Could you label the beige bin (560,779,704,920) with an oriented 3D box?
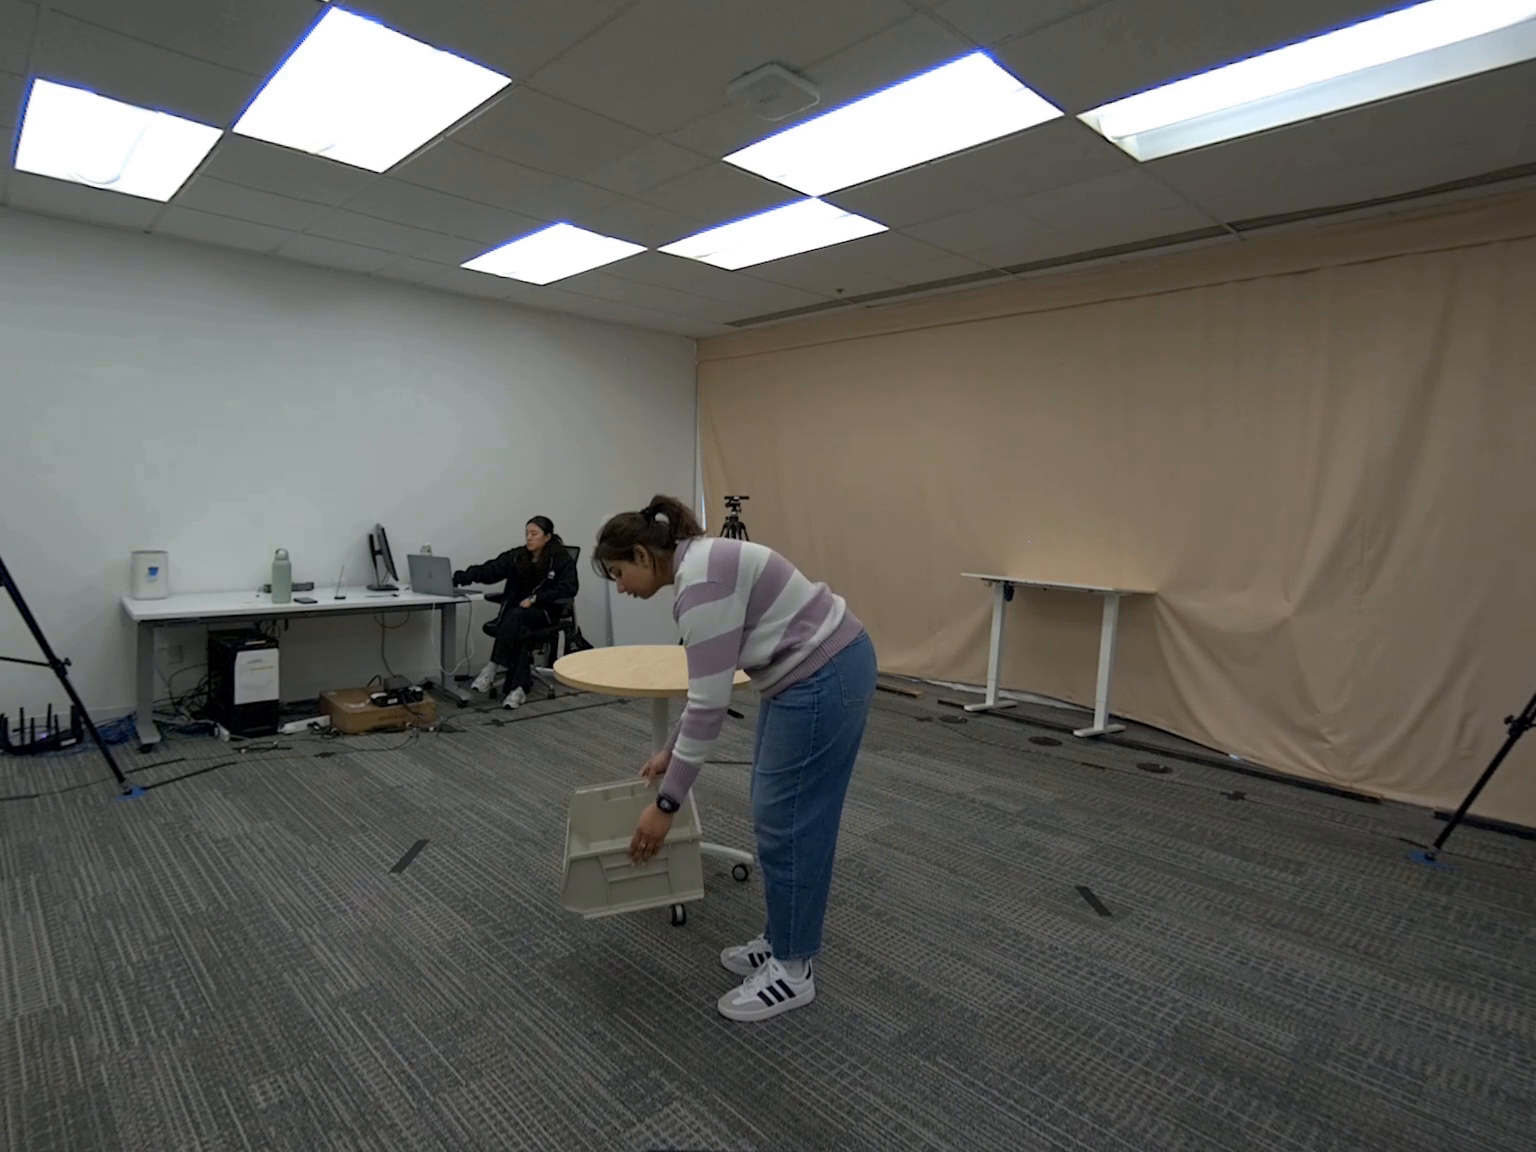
[{"bbox_3d":[-0.381,0.736,2.344,0.375,0.188,0.427,-6,8,-9],"label":"beige bin"}]
